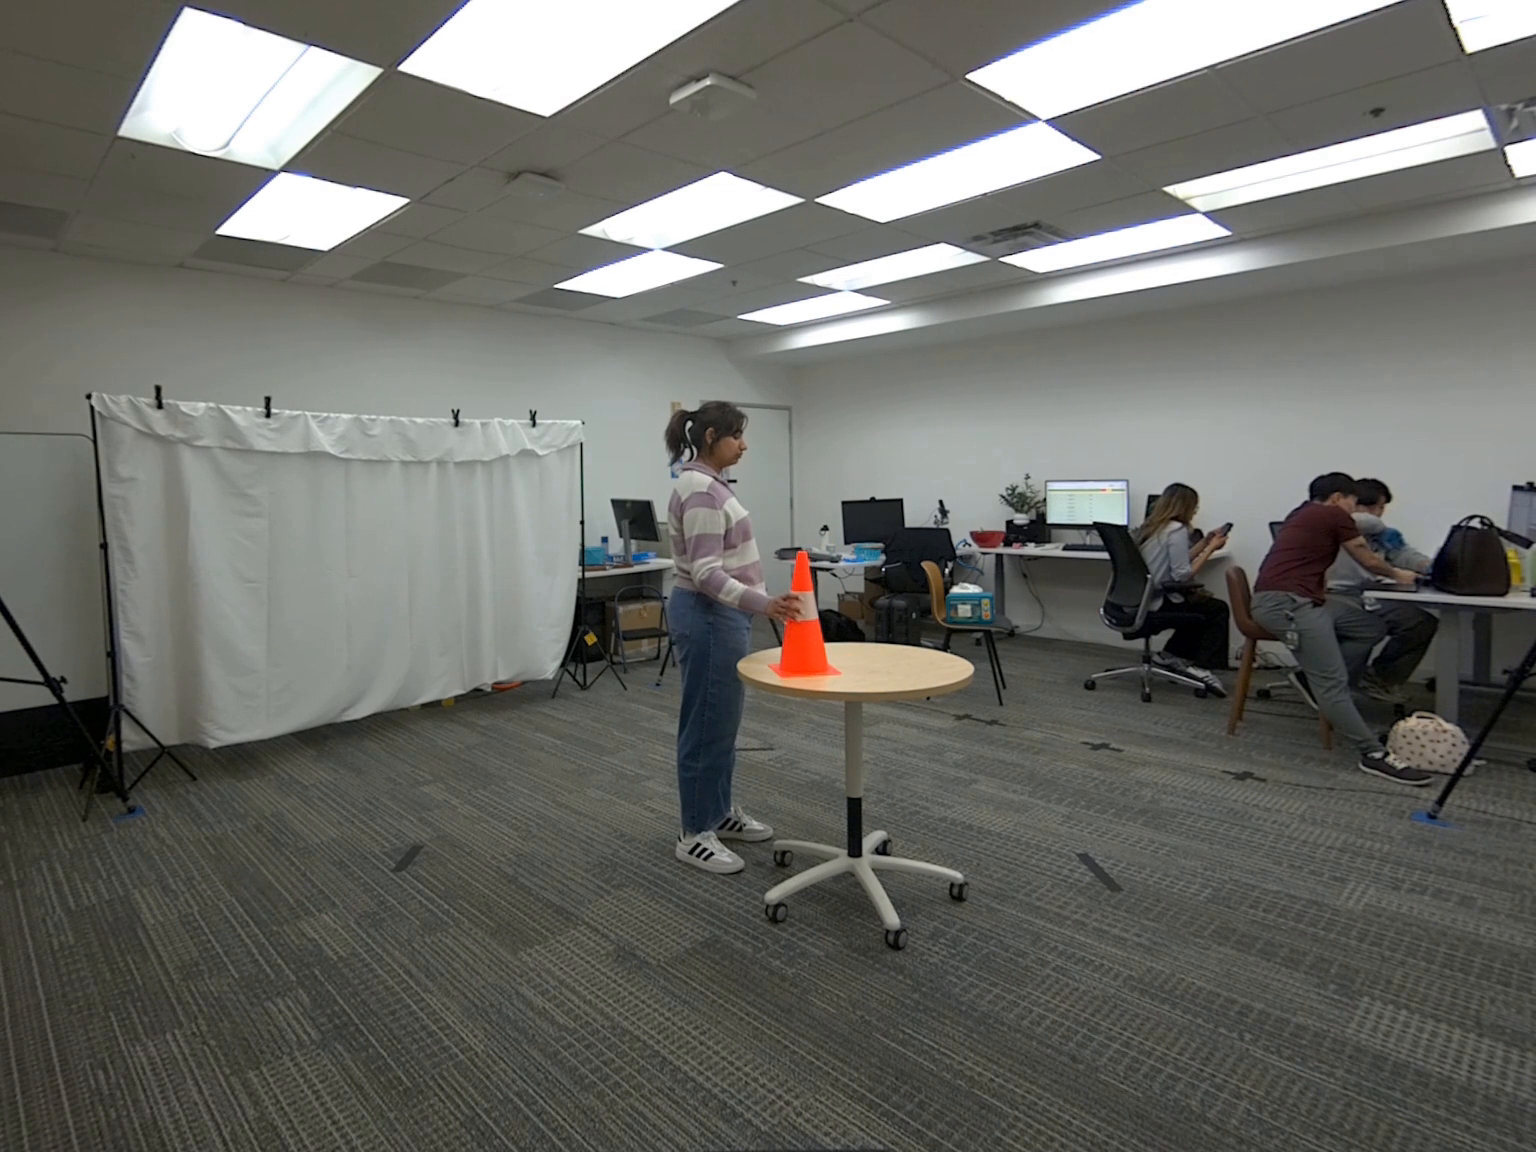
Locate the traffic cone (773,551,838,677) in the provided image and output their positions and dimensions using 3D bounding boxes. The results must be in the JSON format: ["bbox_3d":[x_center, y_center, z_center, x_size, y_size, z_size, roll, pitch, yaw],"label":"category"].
[{"bbox_3d":[0.108,0.117,2.731,0.203,0.382,0.206,-4,4,-11],"label":"traffic cone"}]
